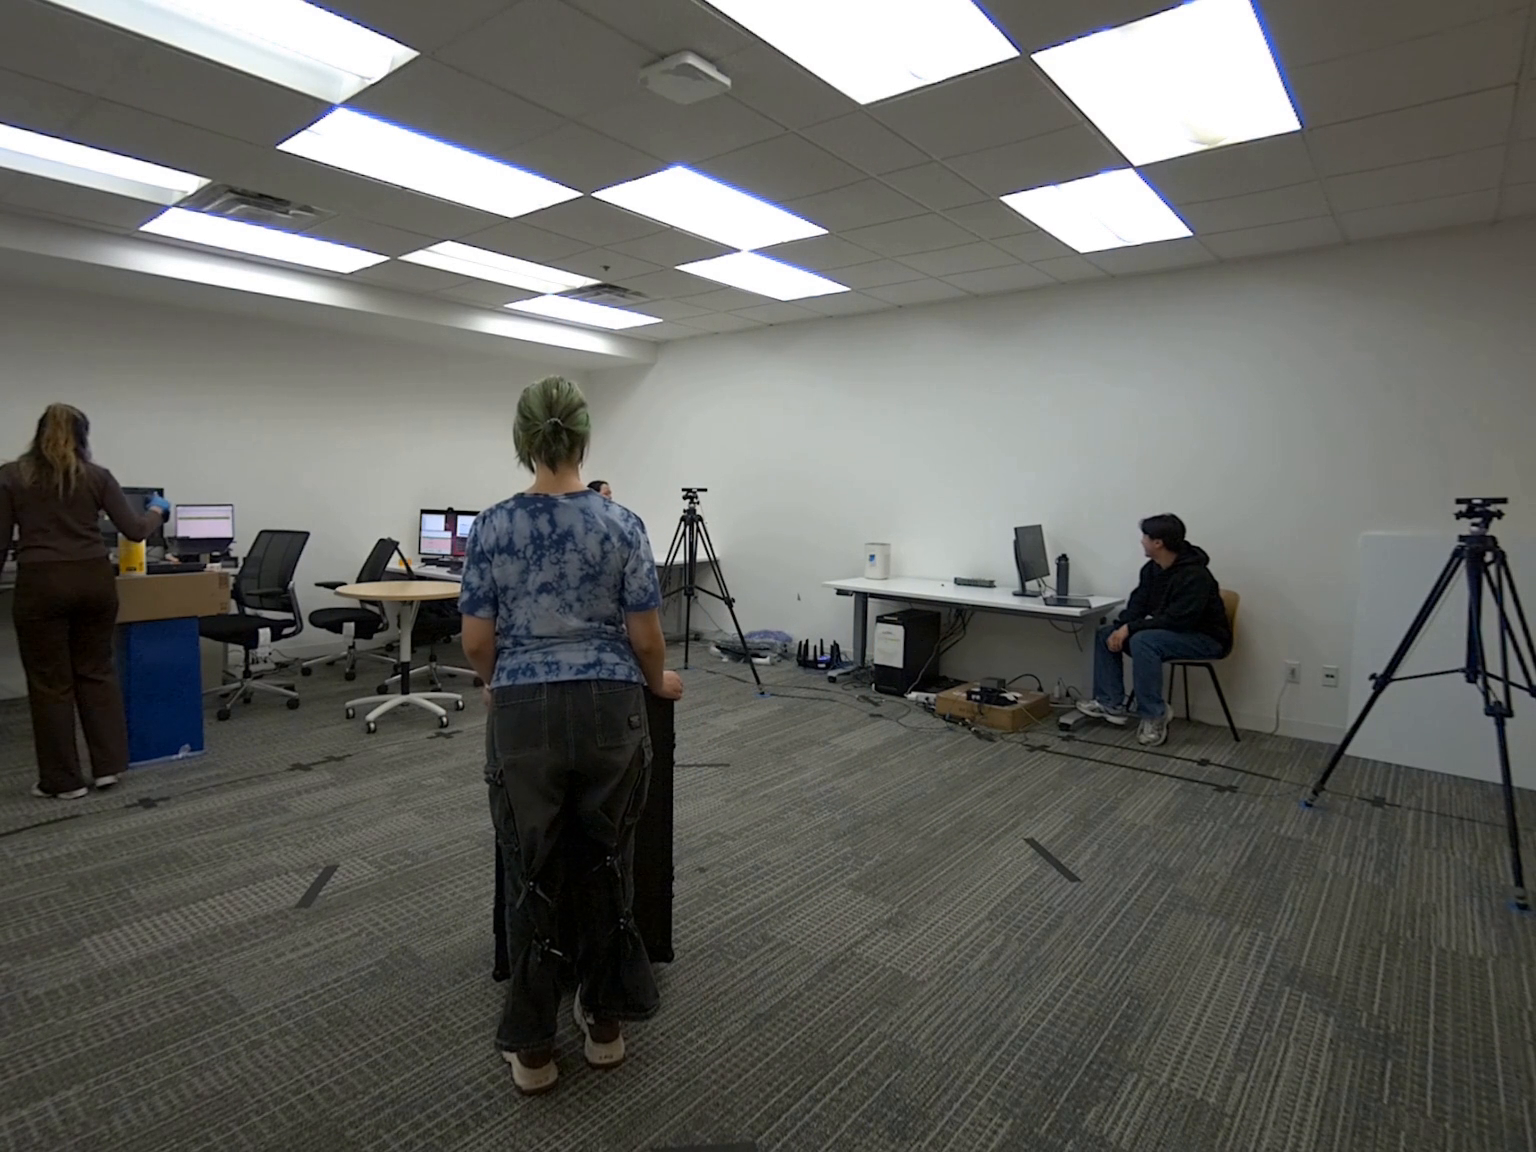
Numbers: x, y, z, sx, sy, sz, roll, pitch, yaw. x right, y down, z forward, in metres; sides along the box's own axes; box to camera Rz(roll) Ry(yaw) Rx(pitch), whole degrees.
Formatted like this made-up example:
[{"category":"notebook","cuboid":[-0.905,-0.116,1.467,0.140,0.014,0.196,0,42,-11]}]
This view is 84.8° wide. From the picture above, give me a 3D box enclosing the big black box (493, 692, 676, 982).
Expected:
[{"category":"big black box","cuboid":[-0.557,0.701,2.473,0.514,0.860,0.402,0,2,-14]}]
